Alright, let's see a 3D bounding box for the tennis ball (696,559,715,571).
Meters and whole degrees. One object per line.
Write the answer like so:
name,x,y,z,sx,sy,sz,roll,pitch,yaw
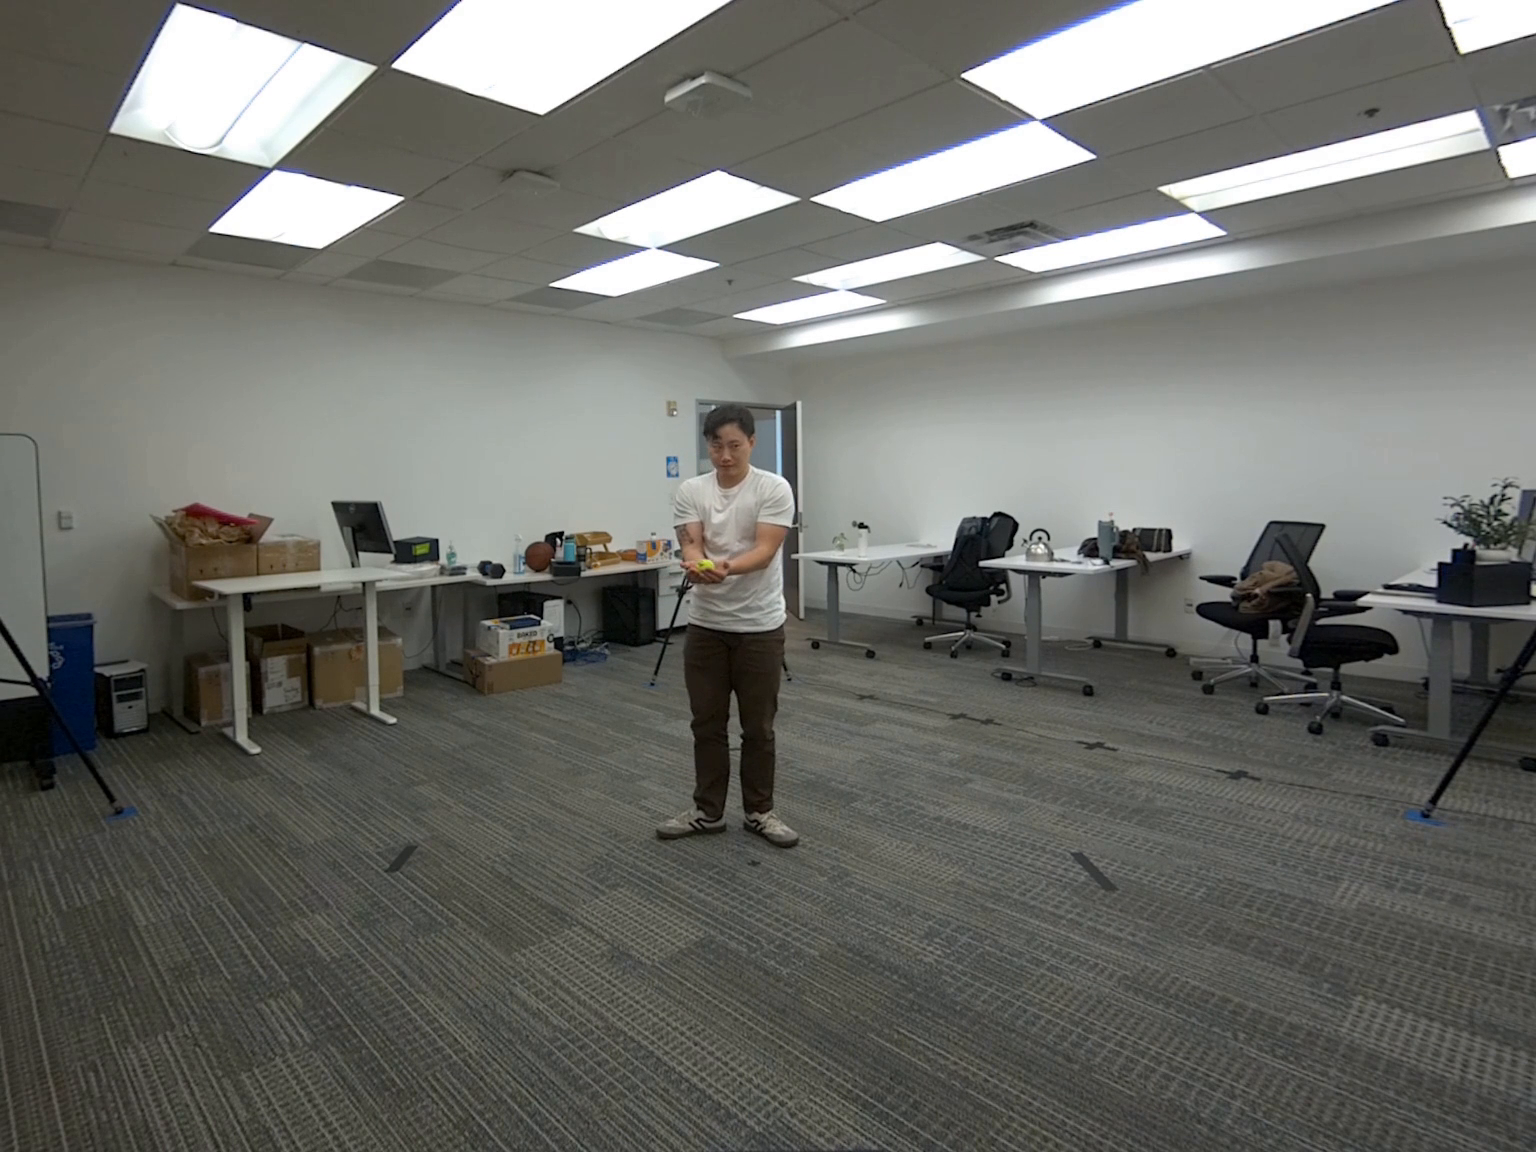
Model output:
tennis ball,-0.224,-0.024,2.910,0.066,0.066,0.067,-1,5,-2
